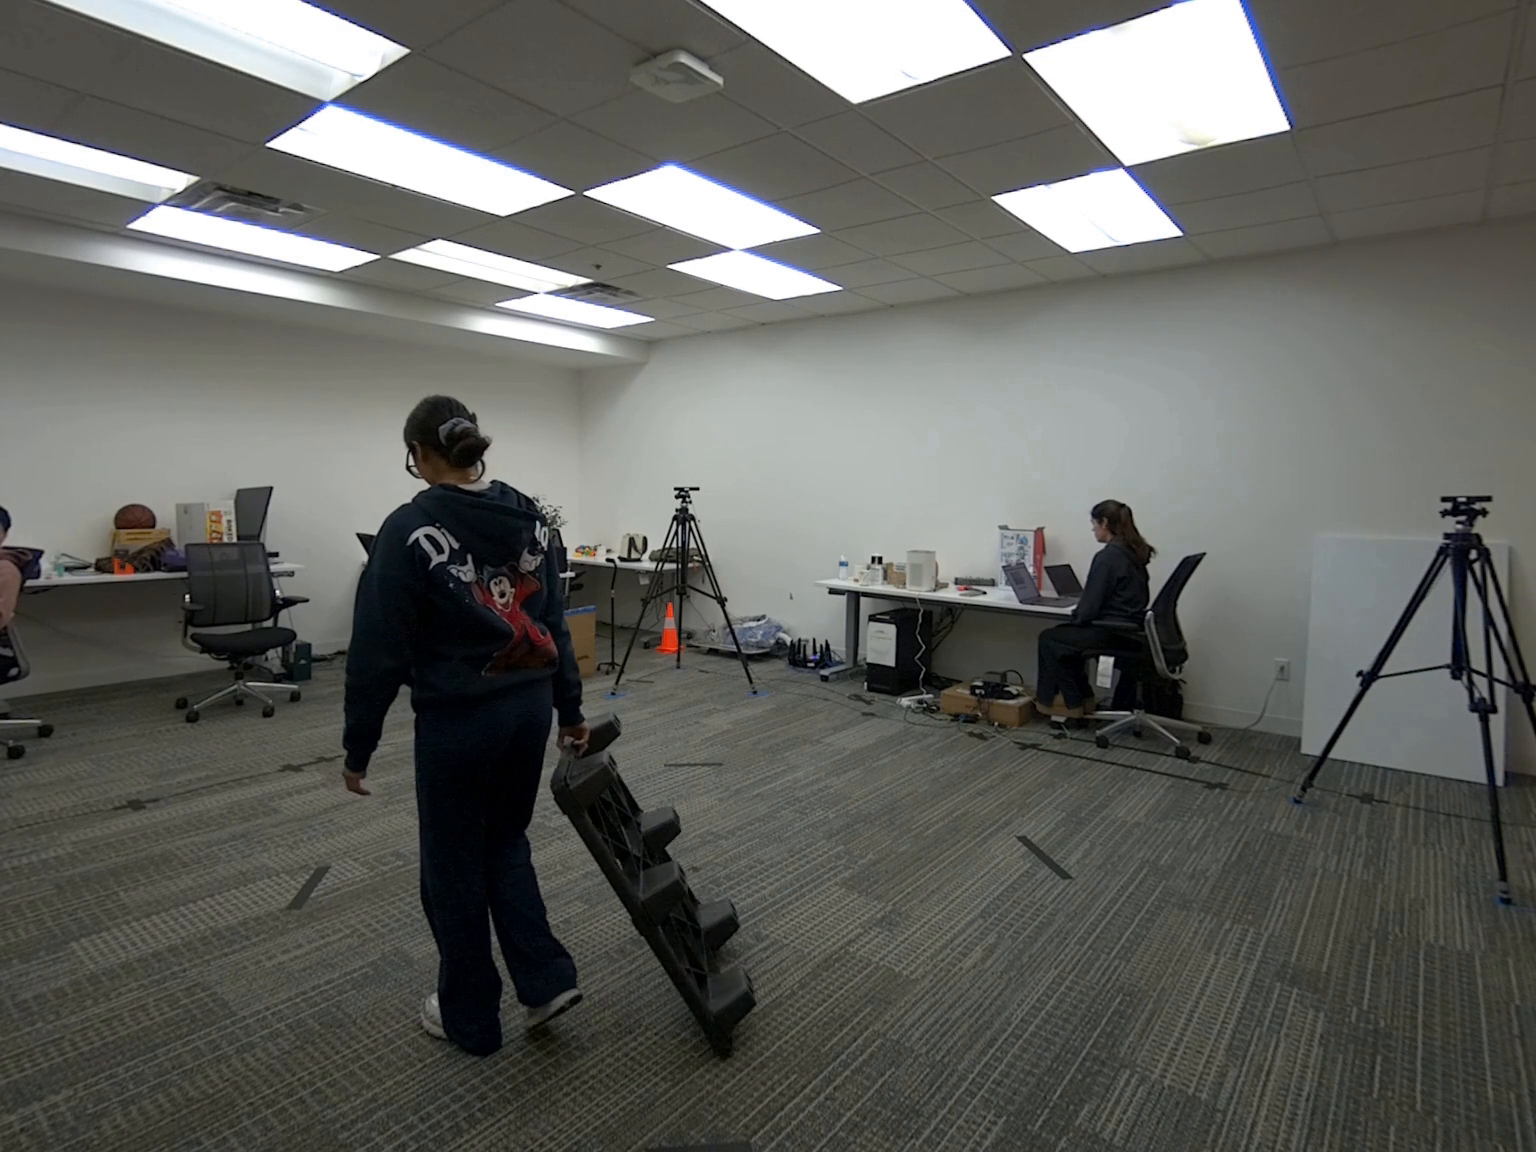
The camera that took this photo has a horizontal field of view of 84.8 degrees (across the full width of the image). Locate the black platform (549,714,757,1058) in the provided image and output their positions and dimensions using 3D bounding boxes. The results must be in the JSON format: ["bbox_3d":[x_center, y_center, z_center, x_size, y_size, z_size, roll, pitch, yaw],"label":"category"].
[{"bbox_3d":[-0.304,0.772,2.330,0.143,0.799,0.611,-31,7,-3],"label":"black platform"}]
